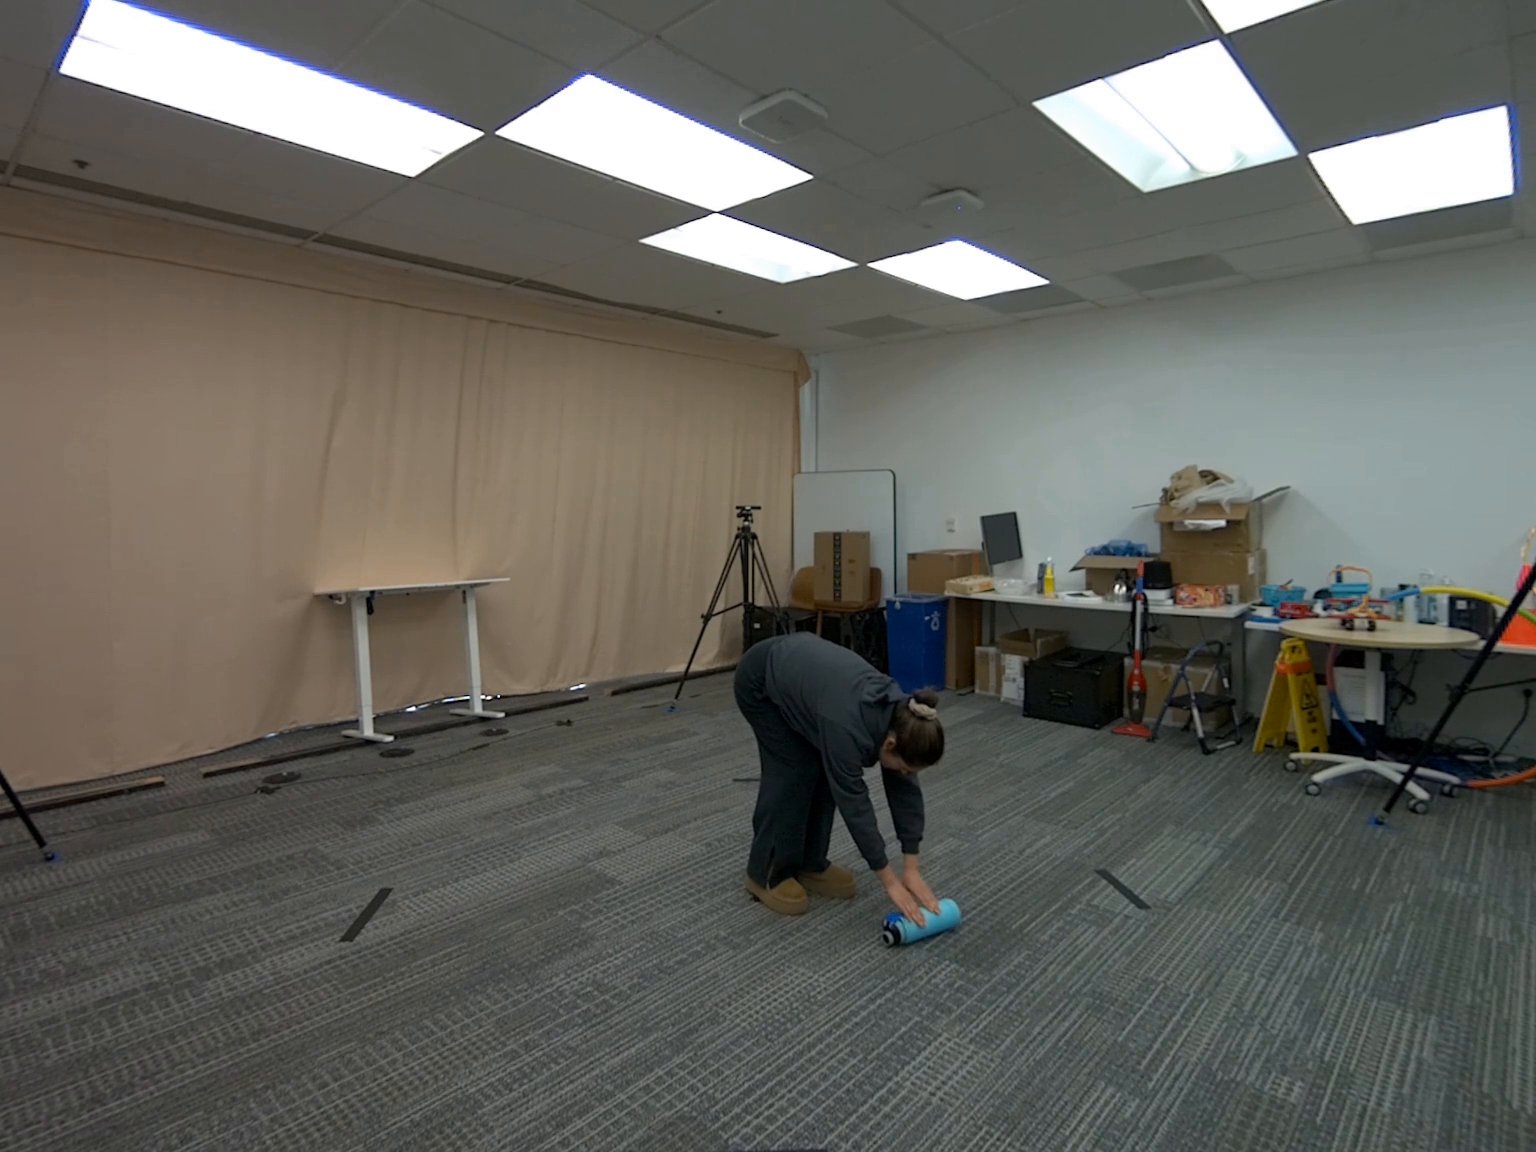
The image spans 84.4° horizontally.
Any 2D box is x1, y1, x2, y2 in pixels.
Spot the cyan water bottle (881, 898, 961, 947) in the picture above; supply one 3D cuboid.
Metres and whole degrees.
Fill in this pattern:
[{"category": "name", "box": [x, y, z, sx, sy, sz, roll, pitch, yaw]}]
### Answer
[{"category": "cyan water bottle", "box": [0.514, 1.114, 2.714, 0.276, 0.092, 0.095, -5, 6, -27]}]
